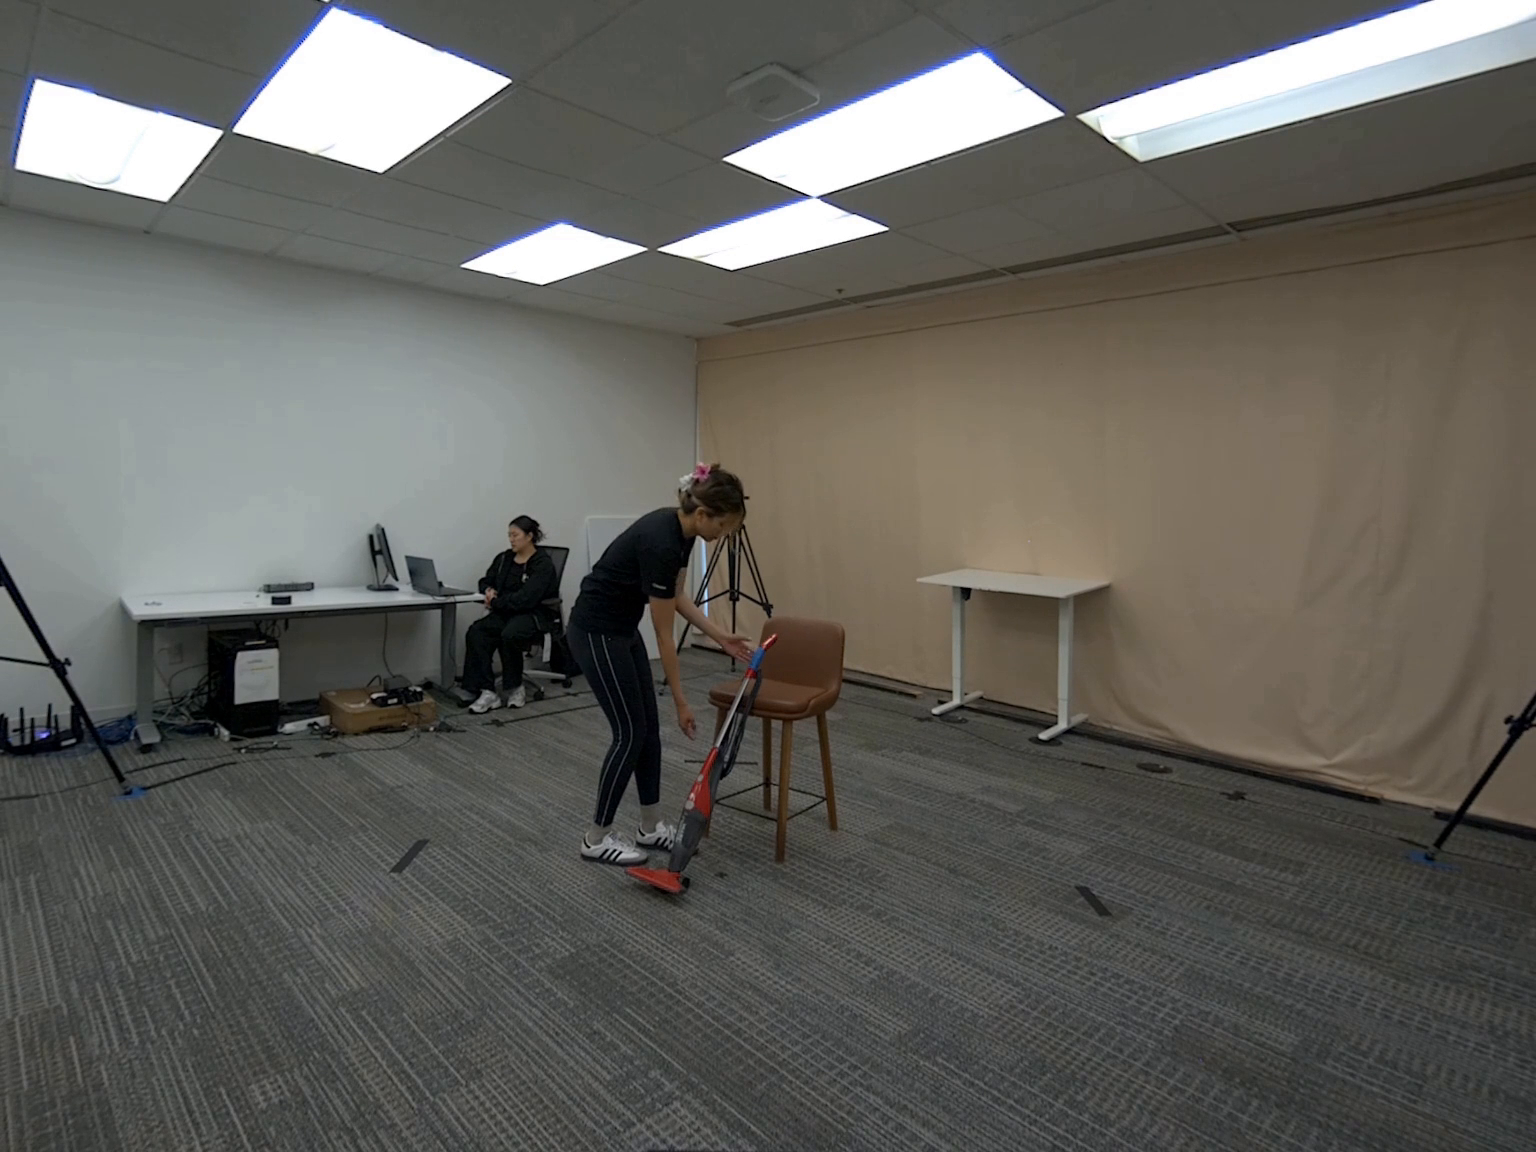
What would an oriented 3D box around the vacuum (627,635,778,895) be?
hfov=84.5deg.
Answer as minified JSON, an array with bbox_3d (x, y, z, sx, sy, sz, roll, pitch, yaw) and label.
[{"bbox_3d":[-0.183,0.670,3.201,0.258,1.057,0.139,3,-35,36],"label":"vacuum"}]
